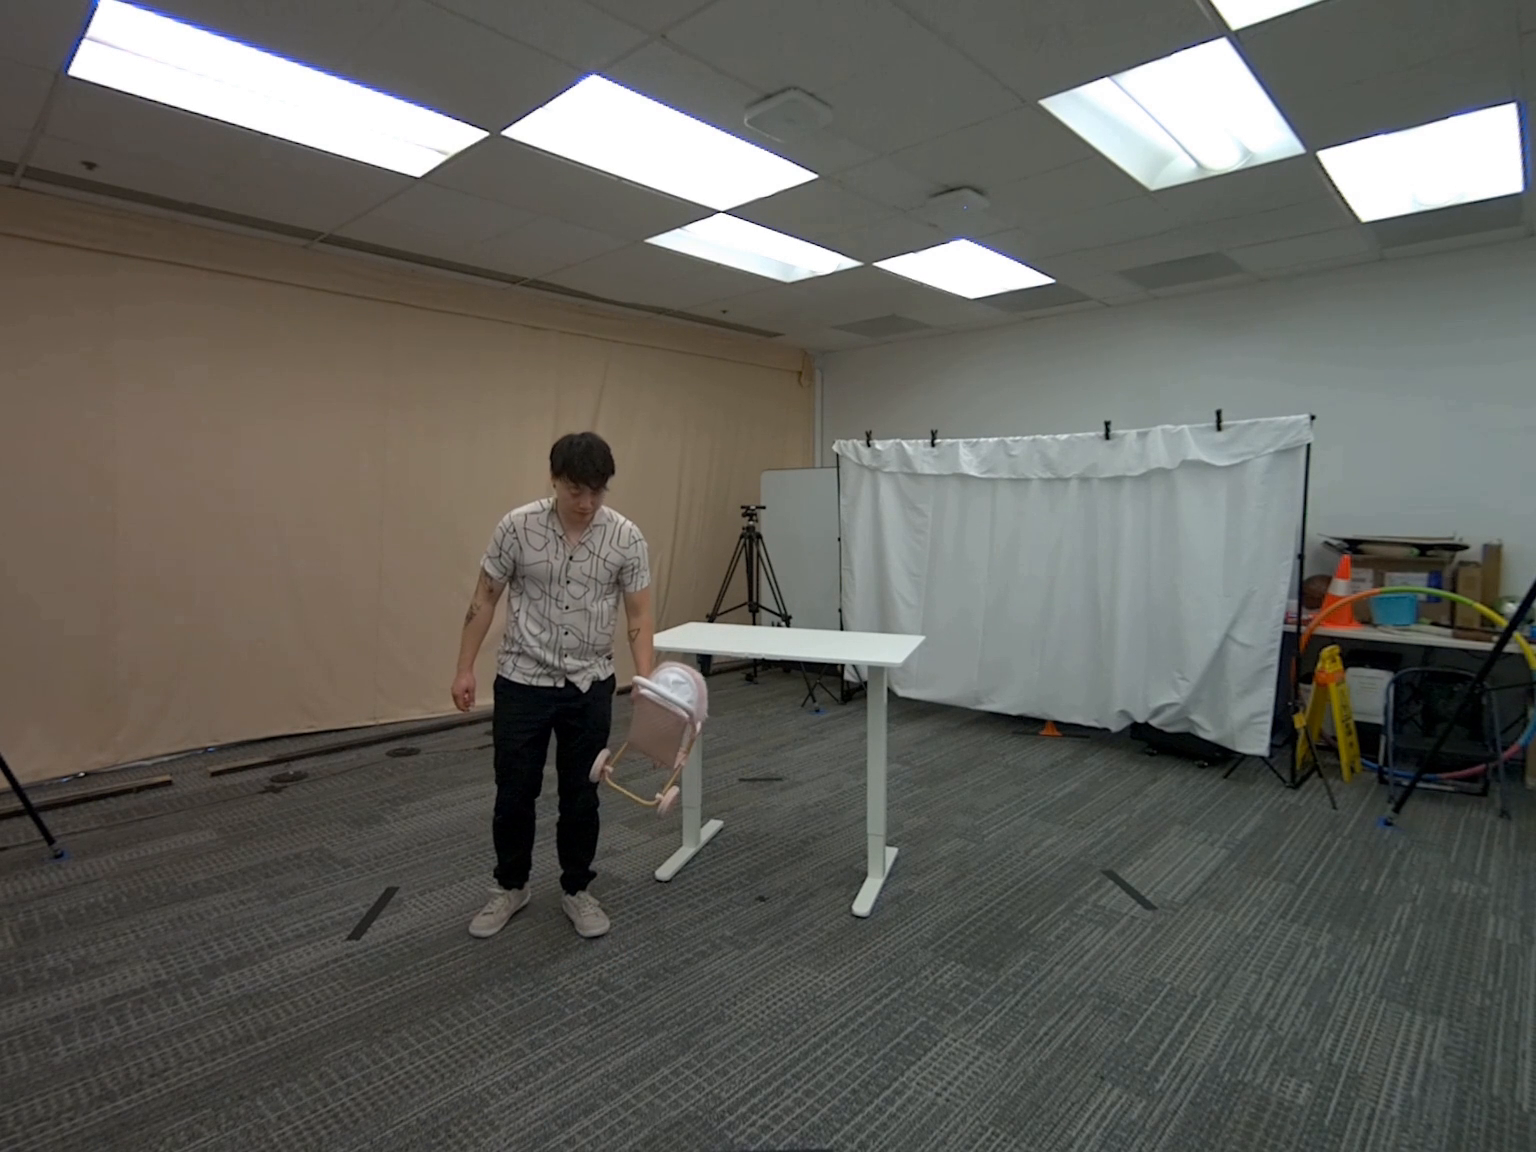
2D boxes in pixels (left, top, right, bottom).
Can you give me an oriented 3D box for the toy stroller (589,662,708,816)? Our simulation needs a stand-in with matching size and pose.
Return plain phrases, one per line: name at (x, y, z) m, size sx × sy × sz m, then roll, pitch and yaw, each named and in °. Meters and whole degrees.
toy stroller at (-0.337, 0.493, 2.664) m, size 0.287 × 0.532 × 0.337 m, roll 27°, pitch 28°, yaw 14°
